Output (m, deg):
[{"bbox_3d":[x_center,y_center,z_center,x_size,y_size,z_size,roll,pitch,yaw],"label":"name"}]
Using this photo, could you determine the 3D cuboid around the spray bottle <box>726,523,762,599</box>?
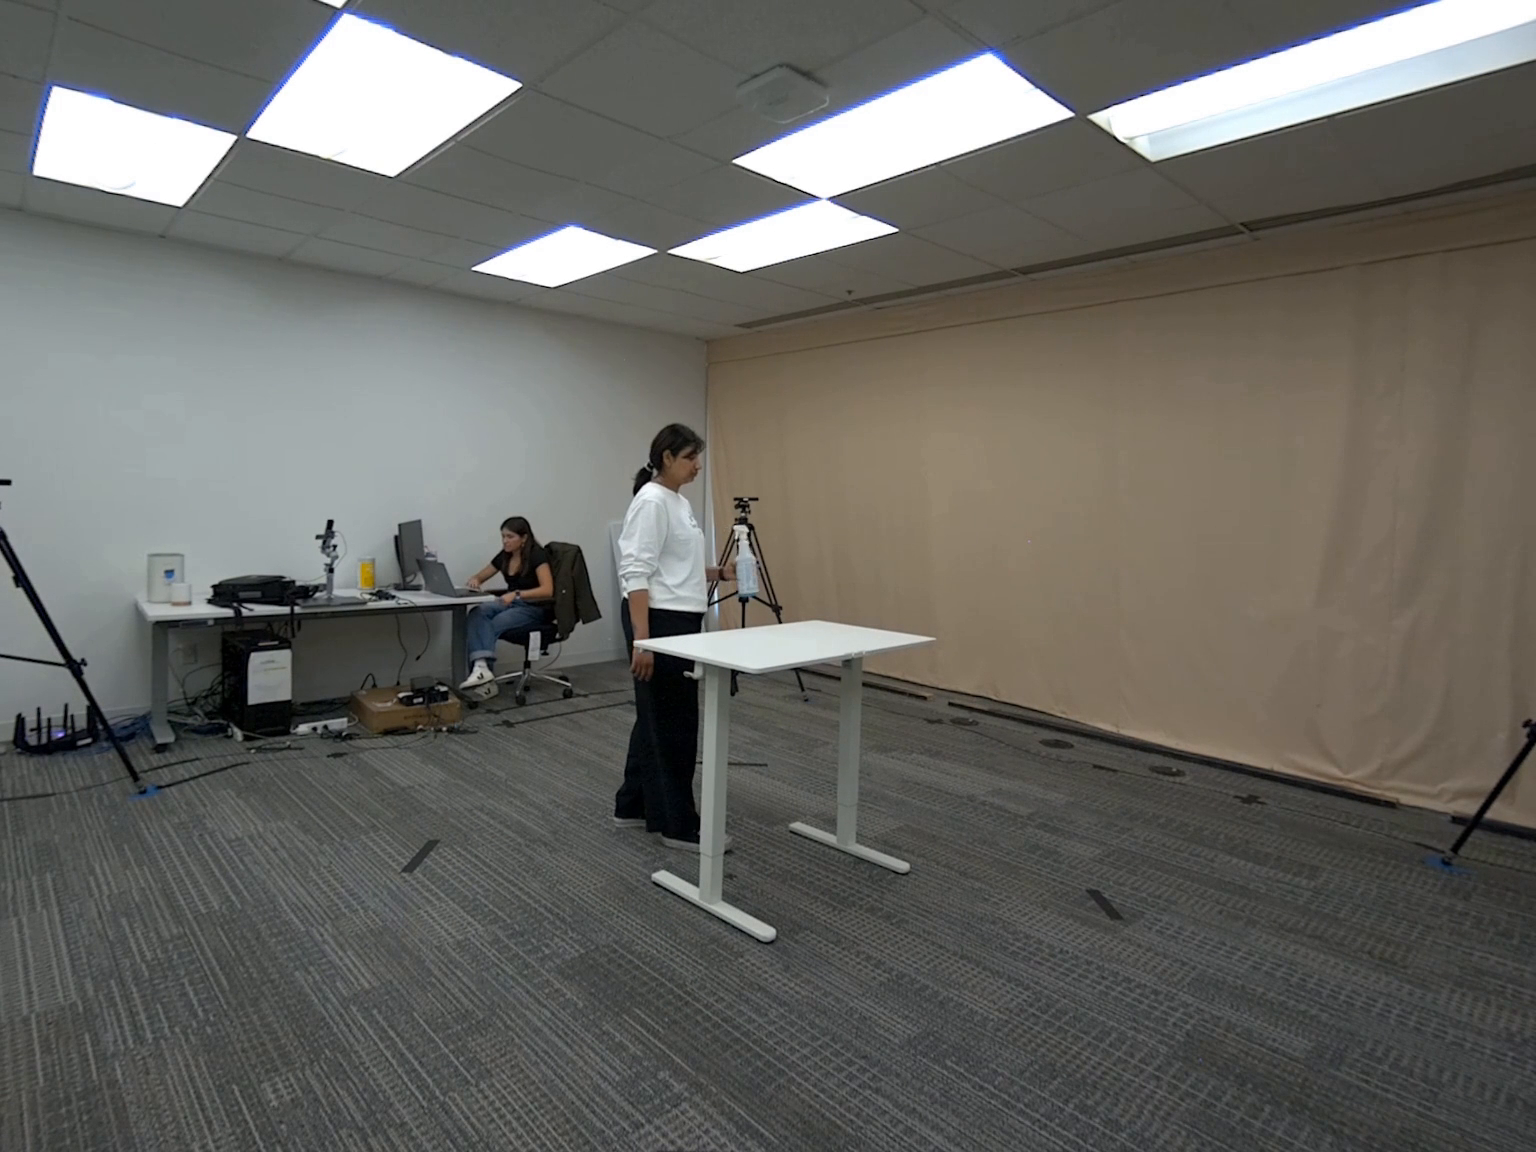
[{"bbox_3d":[-0.102,-0.064,3.488,0.088,0.297,0.088,-5,1,-25],"label":"spray bottle"}]
